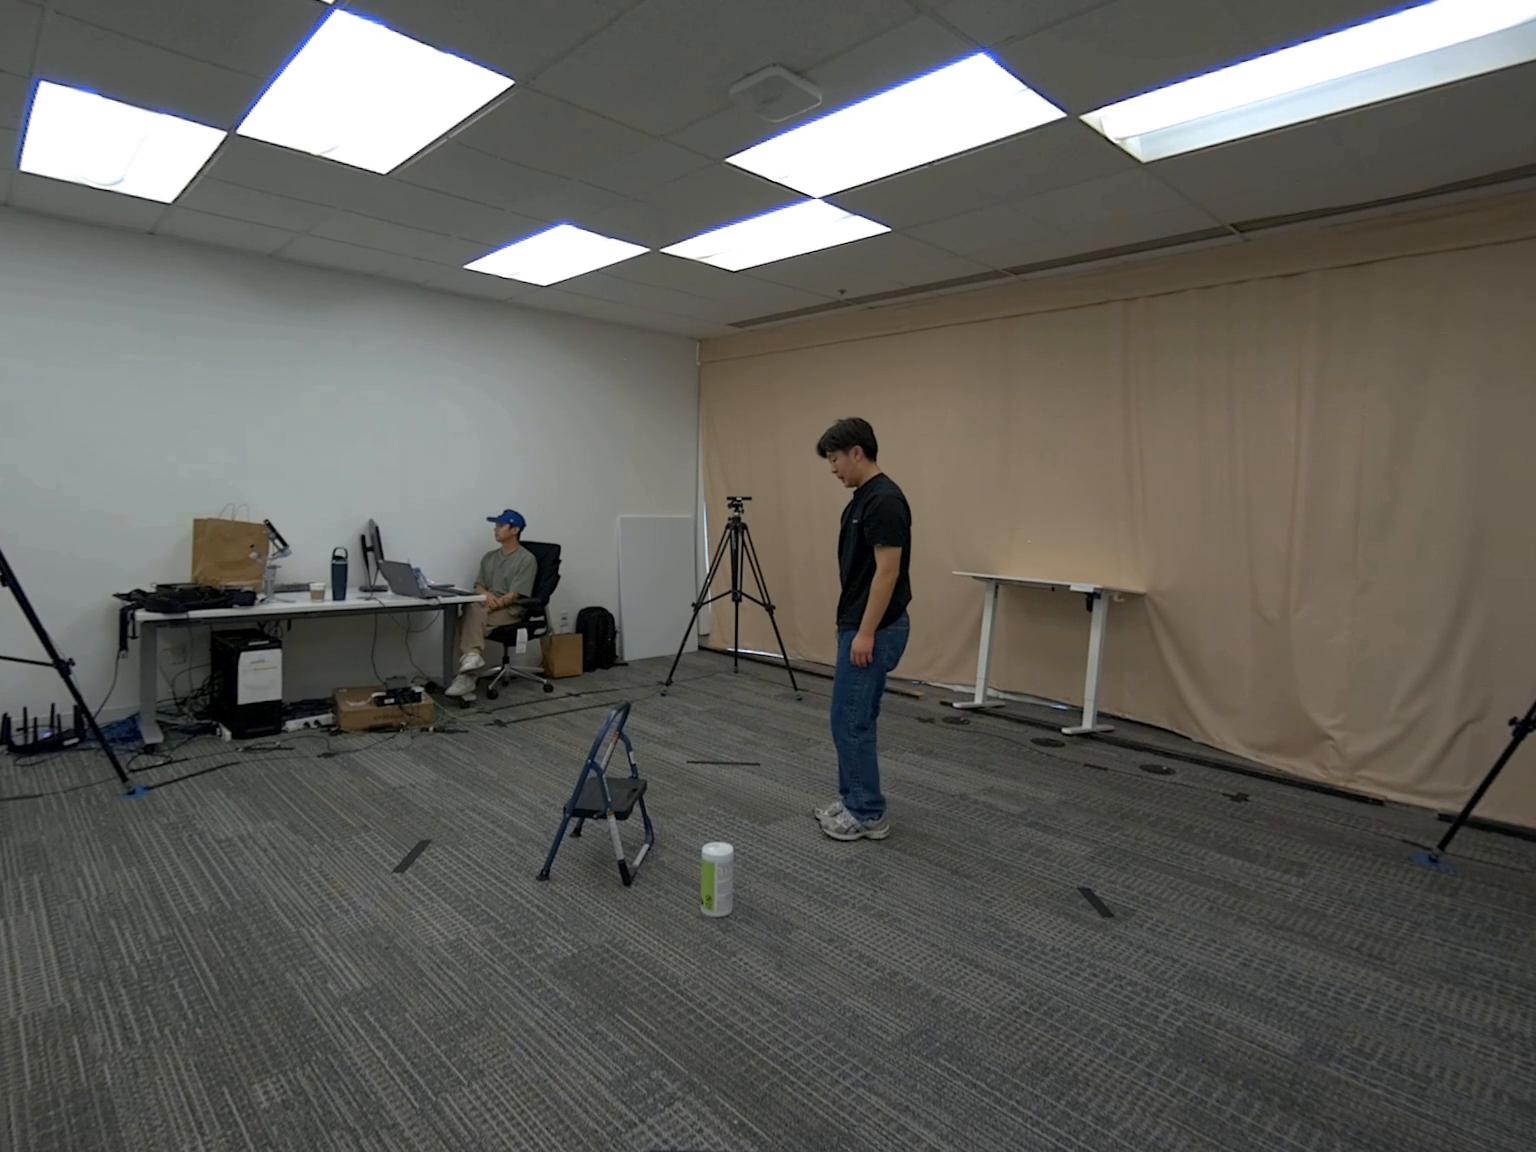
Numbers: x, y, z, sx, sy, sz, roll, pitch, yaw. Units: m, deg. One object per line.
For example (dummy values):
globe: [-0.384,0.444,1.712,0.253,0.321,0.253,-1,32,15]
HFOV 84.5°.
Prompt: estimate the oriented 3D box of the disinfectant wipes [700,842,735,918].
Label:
disinfectant wipes: [-0.176,1.024,2.838,0.118,0.217,0.118,1,2,-1]
